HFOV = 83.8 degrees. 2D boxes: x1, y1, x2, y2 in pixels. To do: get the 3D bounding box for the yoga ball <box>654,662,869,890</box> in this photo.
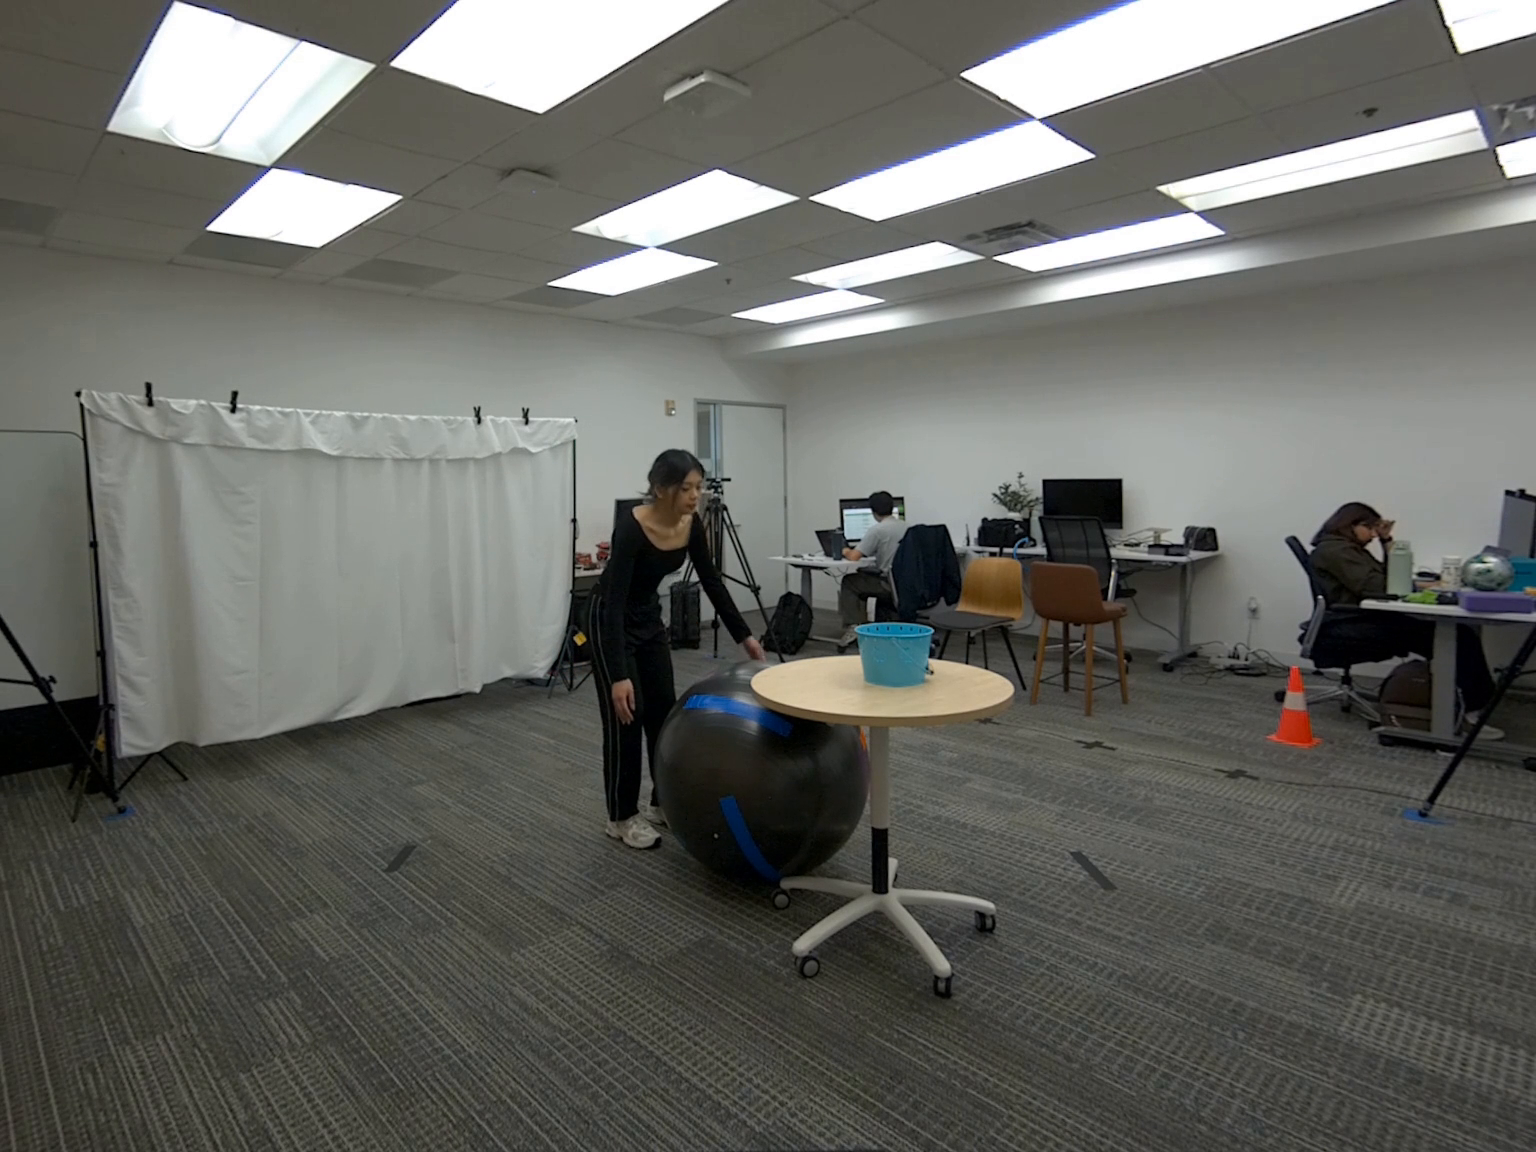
[{"bbox_3d":[-0.021,0.690,3.016,0.757,0.755,0.762,-1,5,-2],"label":"yoga ball"}]
